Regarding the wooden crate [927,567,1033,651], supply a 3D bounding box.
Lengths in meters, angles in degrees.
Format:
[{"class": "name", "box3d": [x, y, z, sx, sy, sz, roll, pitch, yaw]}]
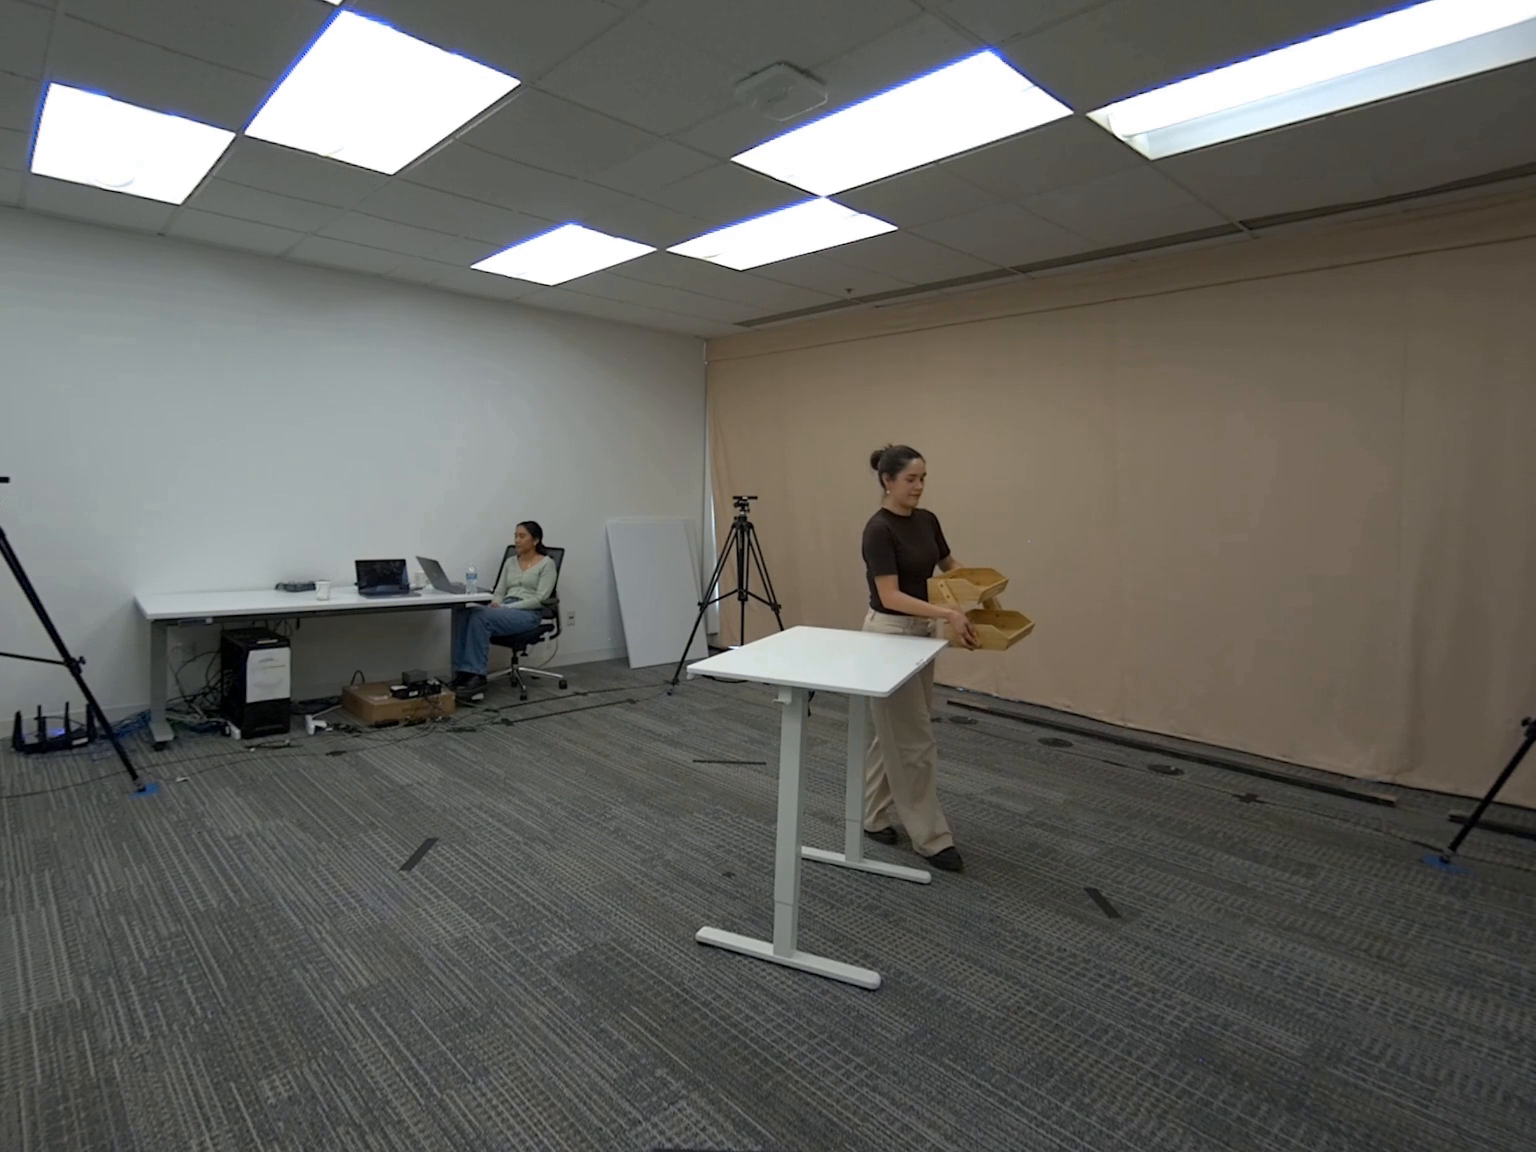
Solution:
[{"class": "wooden crate", "box3d": [0.818, 0.113, 3.238, 0.309, 0.272, 0.318, 0, 8, 37]}]
